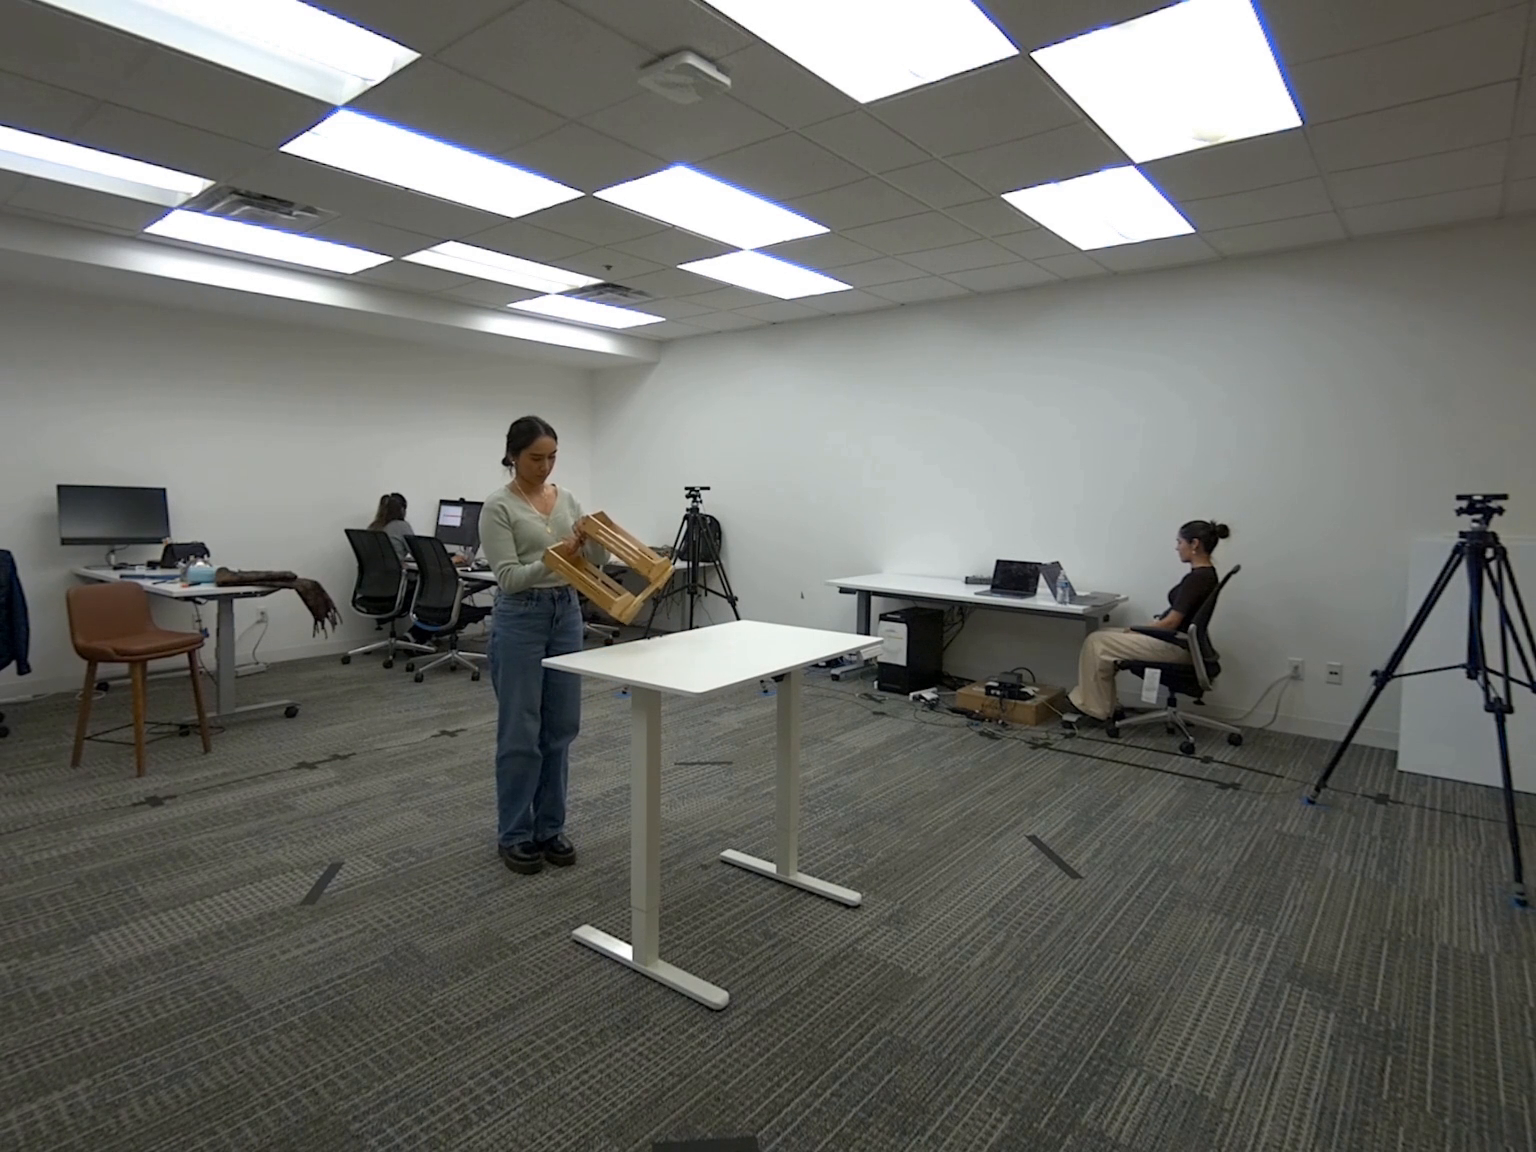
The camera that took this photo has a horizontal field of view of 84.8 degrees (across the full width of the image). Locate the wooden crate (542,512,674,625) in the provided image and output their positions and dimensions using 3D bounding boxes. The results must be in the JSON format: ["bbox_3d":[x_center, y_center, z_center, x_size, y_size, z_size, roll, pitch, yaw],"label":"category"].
[{"bbox_3d":[-0.541,-0.044,2.866,0.331,0.273,0.296,34,-9,12],"label":"wooden crate"}]
